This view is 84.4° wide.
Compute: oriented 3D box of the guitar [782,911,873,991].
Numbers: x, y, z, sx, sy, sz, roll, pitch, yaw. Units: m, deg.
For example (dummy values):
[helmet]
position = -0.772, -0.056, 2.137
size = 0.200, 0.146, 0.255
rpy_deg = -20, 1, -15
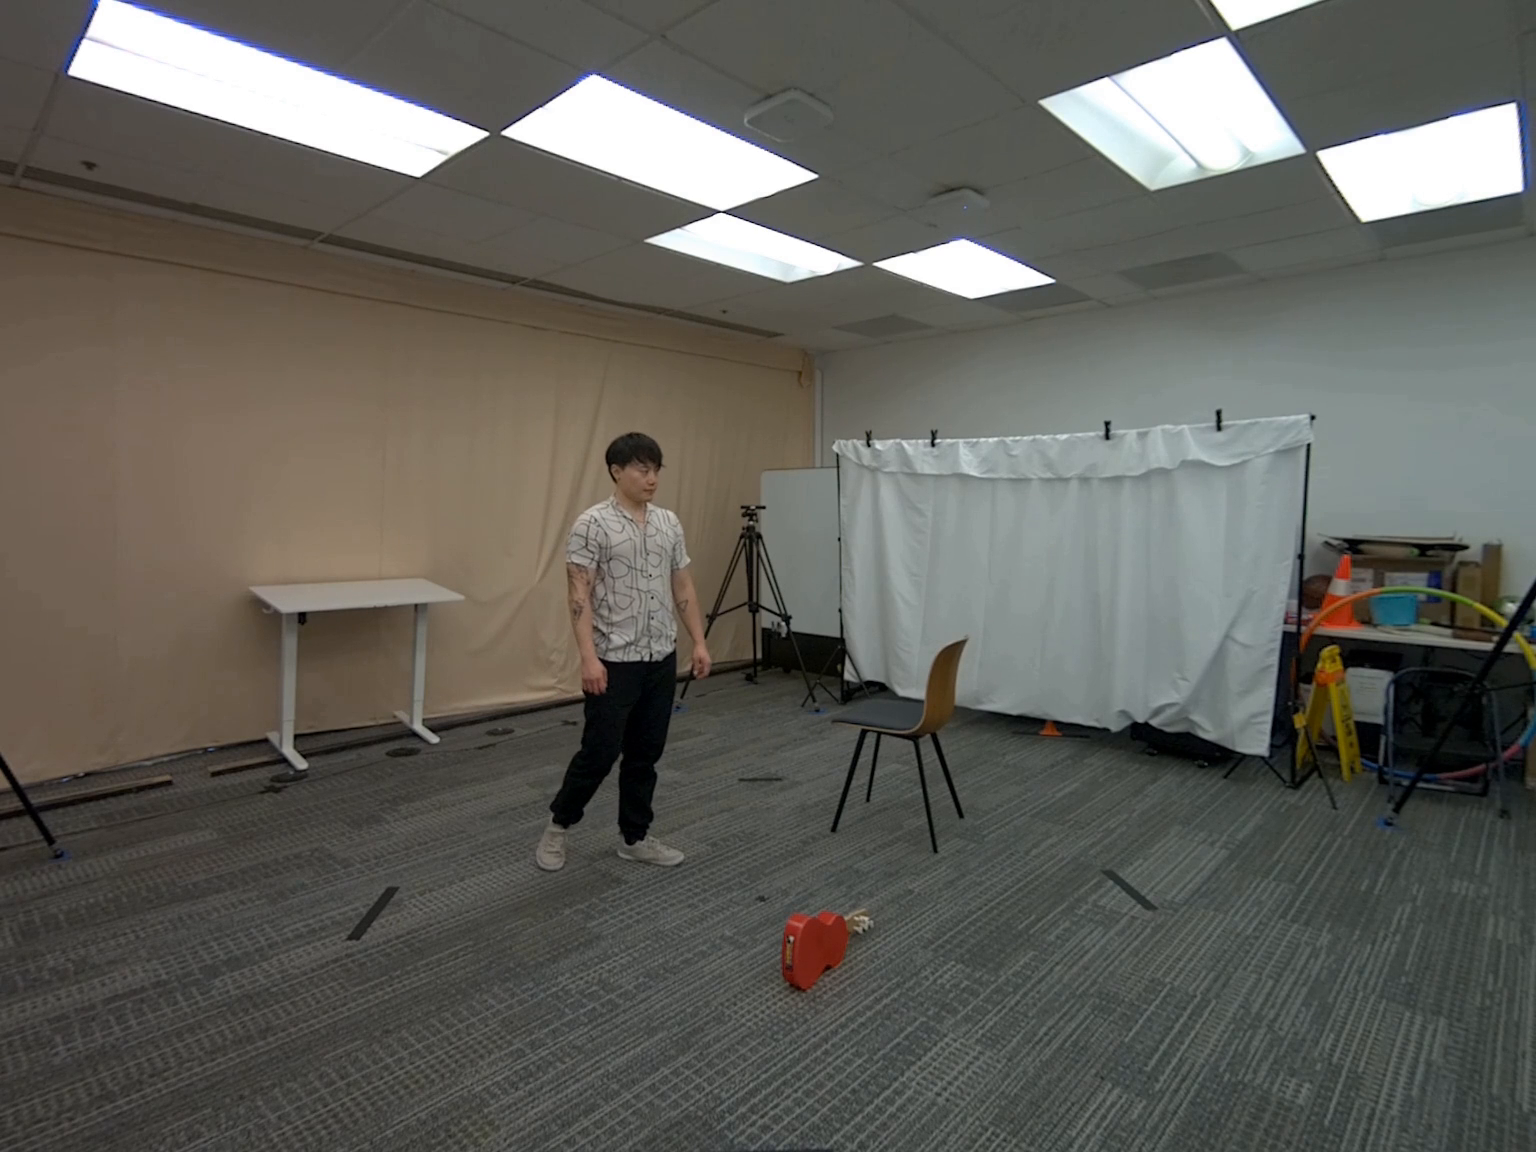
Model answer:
[guitar]
position = 0.206, 1.084, 2.594
size = 0.073, 0.193, 0.483
rpy_deg = -3, 1, 37
